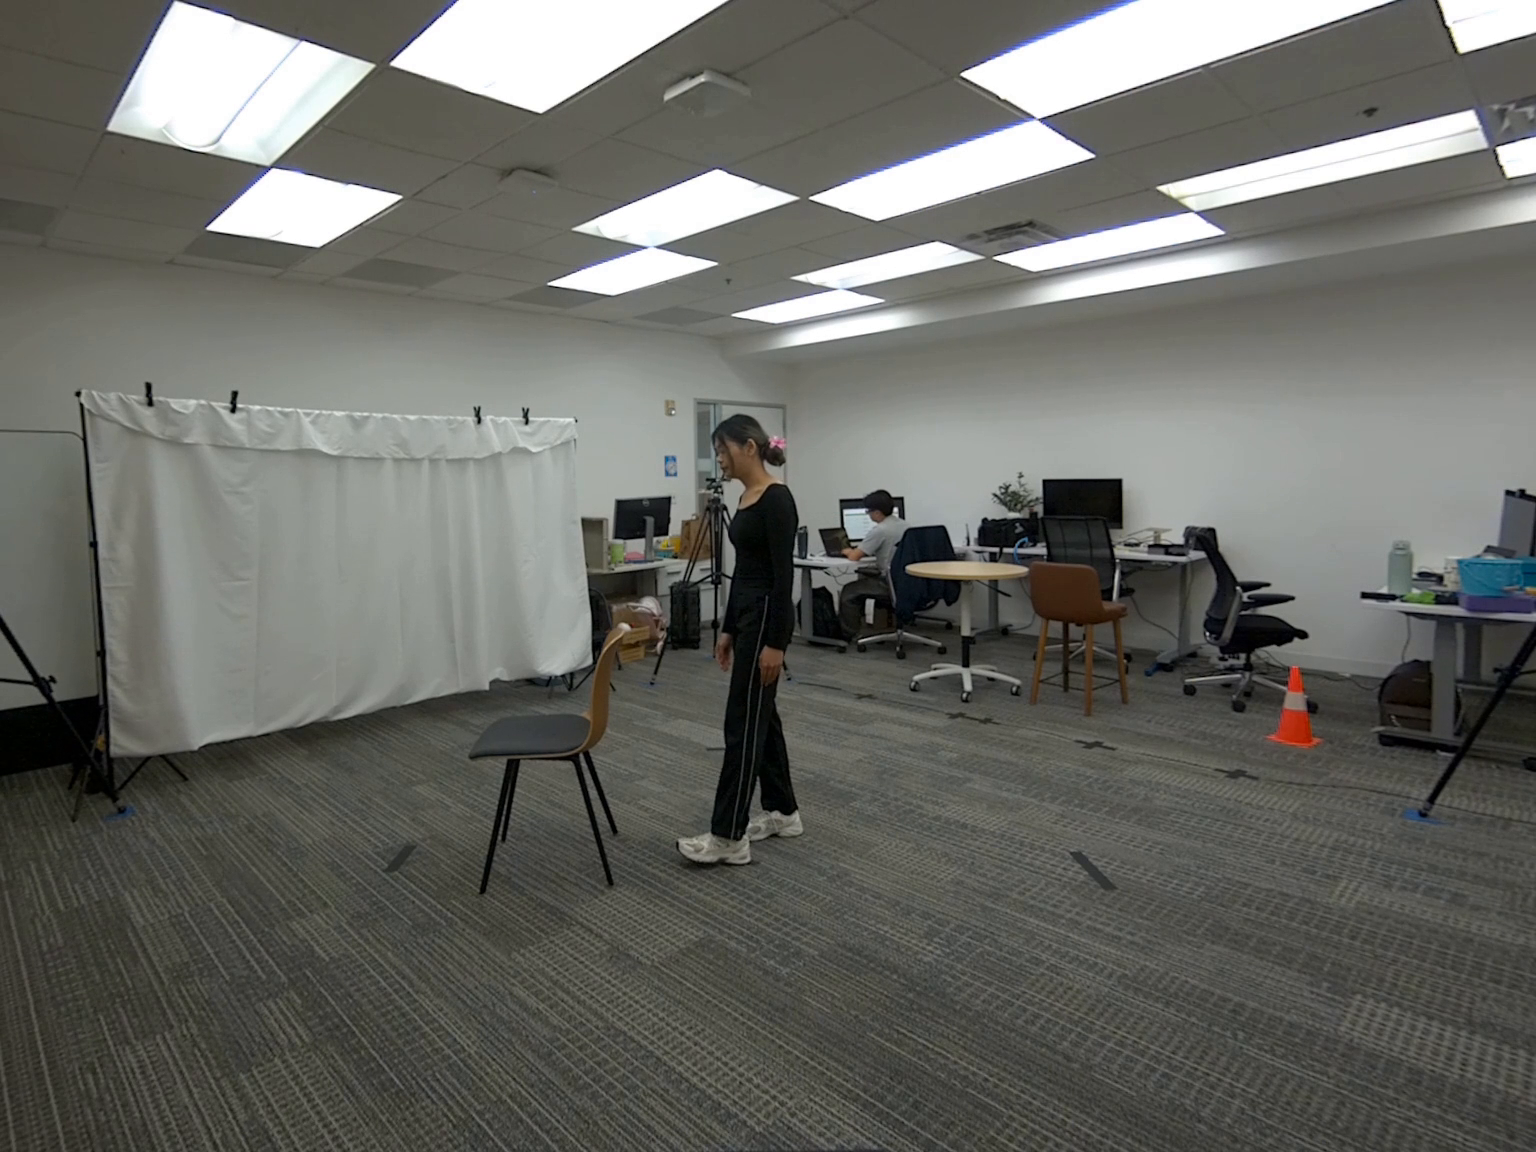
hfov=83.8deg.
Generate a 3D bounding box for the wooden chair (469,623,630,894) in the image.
[{"bbox_3d":[-0.805,0.630,3.110,0.520,0.874,0.483,2,4,-7],"label":"wooden chair"}]
